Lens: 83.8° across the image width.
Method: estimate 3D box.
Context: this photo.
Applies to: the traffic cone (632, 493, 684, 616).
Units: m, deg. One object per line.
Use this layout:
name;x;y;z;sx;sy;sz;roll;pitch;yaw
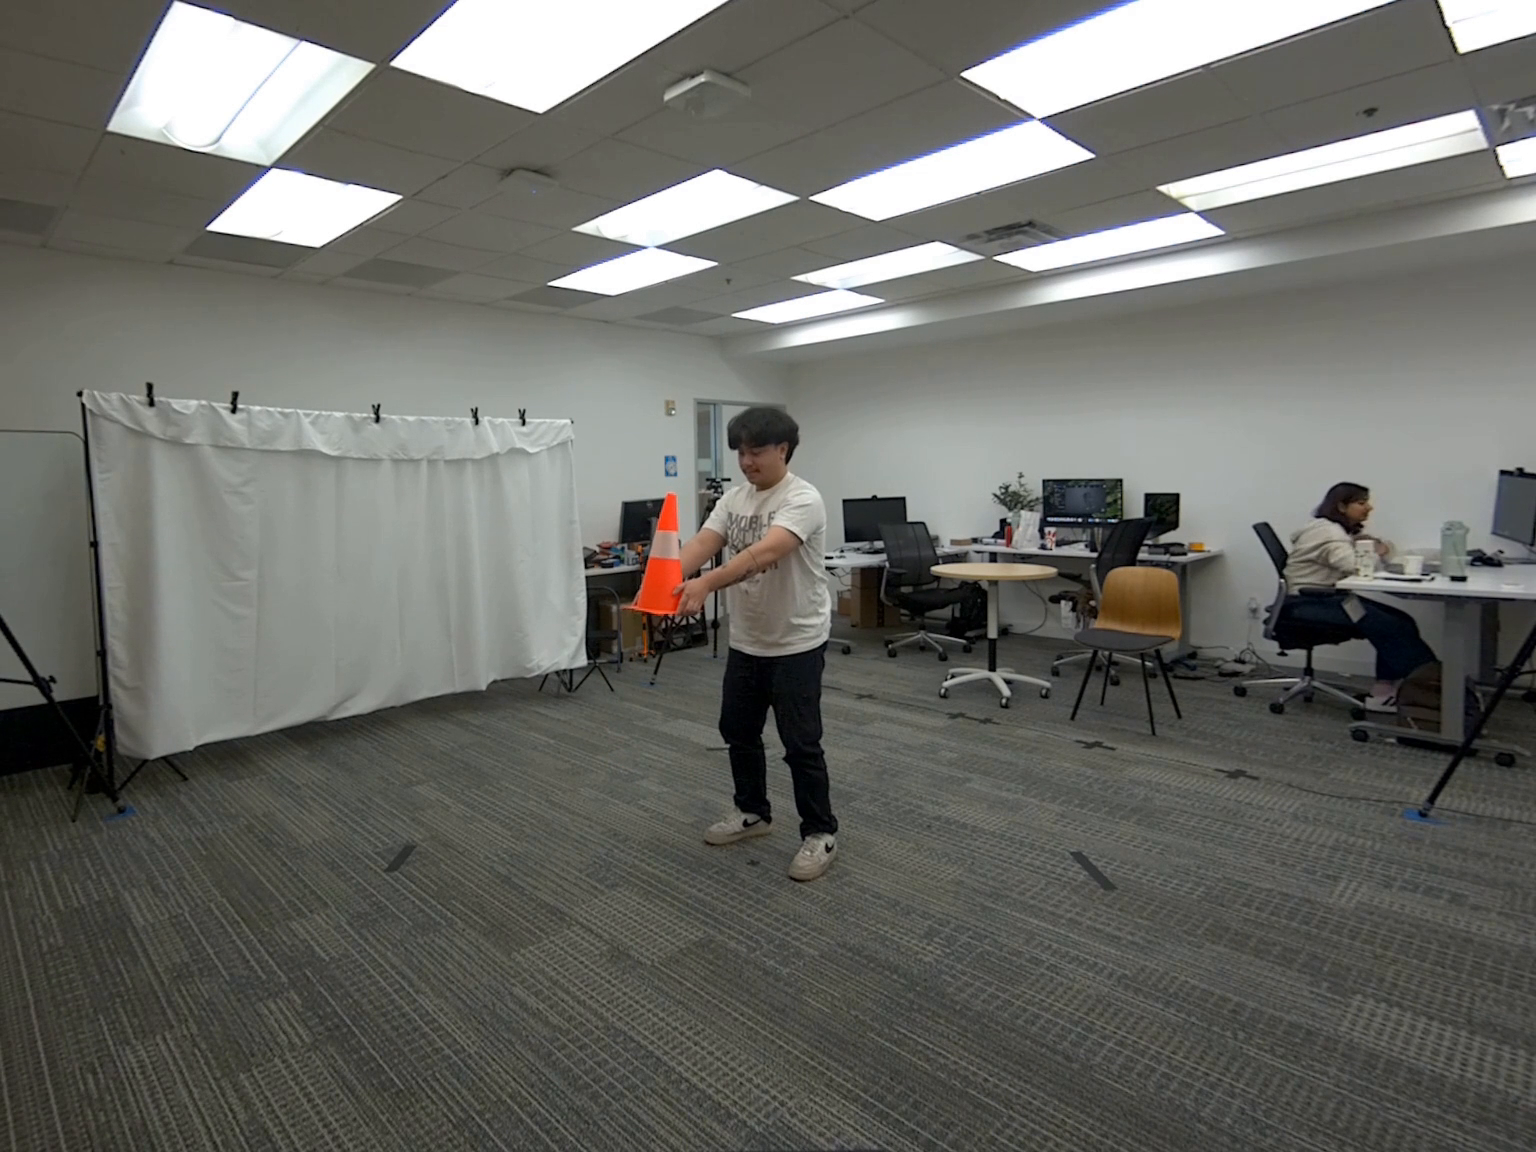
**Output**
traffic cone;-0.330;-0.077;2.772;0.210;0.384;0.198;4;-1;28
